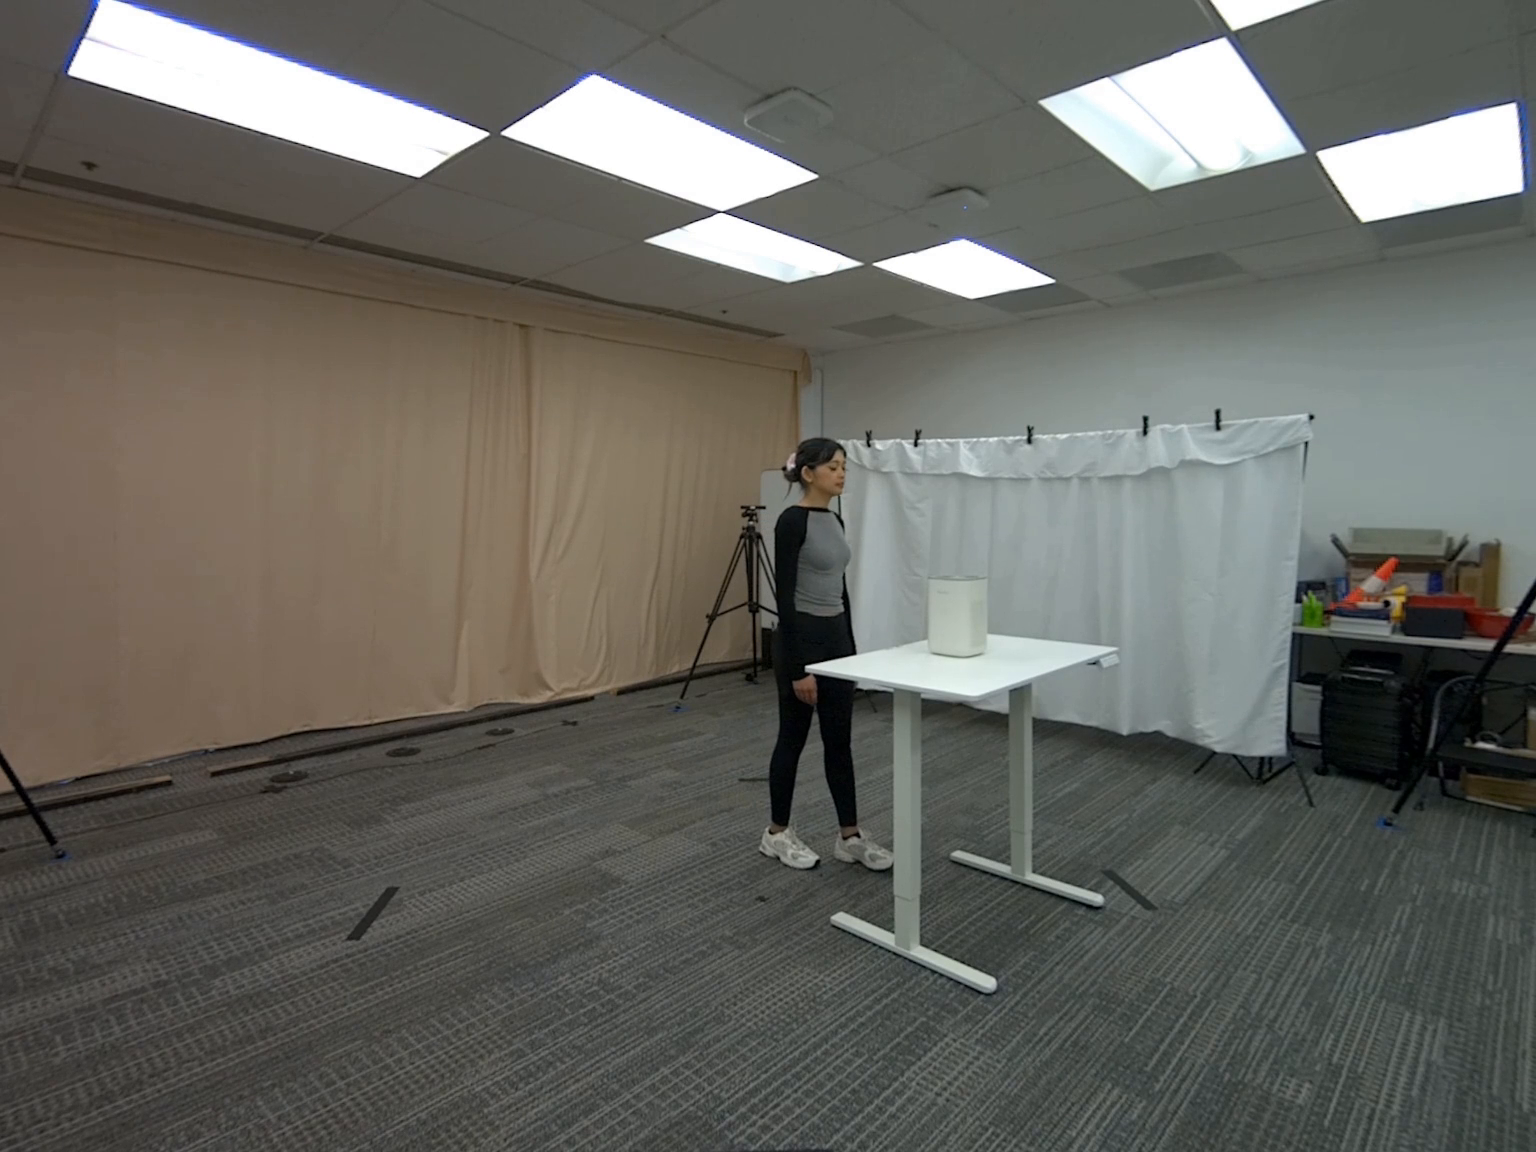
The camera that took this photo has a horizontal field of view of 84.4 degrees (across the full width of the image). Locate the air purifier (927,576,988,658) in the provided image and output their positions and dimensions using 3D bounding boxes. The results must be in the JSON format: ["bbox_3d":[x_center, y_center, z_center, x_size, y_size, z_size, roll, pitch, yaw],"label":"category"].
[{"bbox_3d":[0.659,0.136,2.884,0.166,0.265,0.177,-4,5,-44],"label":"air purifier"}]
